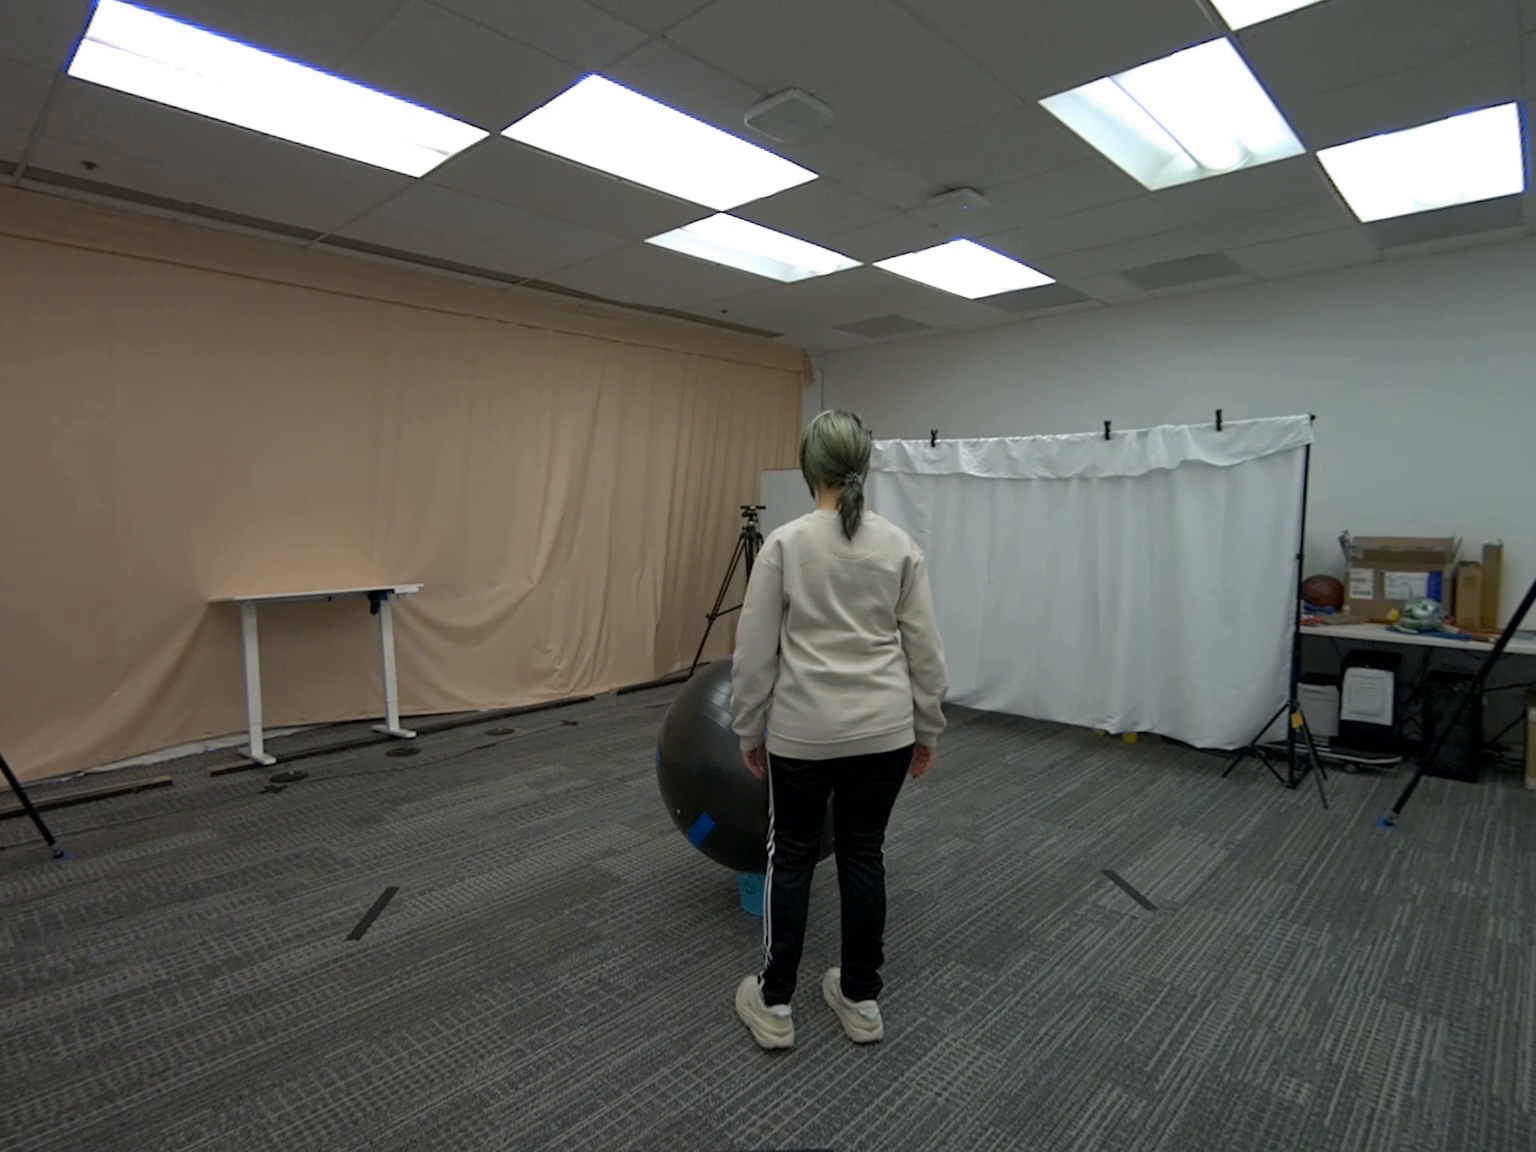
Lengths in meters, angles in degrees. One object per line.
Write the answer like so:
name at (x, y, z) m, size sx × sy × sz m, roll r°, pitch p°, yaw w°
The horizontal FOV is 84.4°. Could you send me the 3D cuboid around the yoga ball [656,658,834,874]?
yoga ball at (-0.004, 0.632, 2.930) m, size 0.757 × 0.756 × 0.760 m, roll 0°, pitch 4°, yaw -2°
